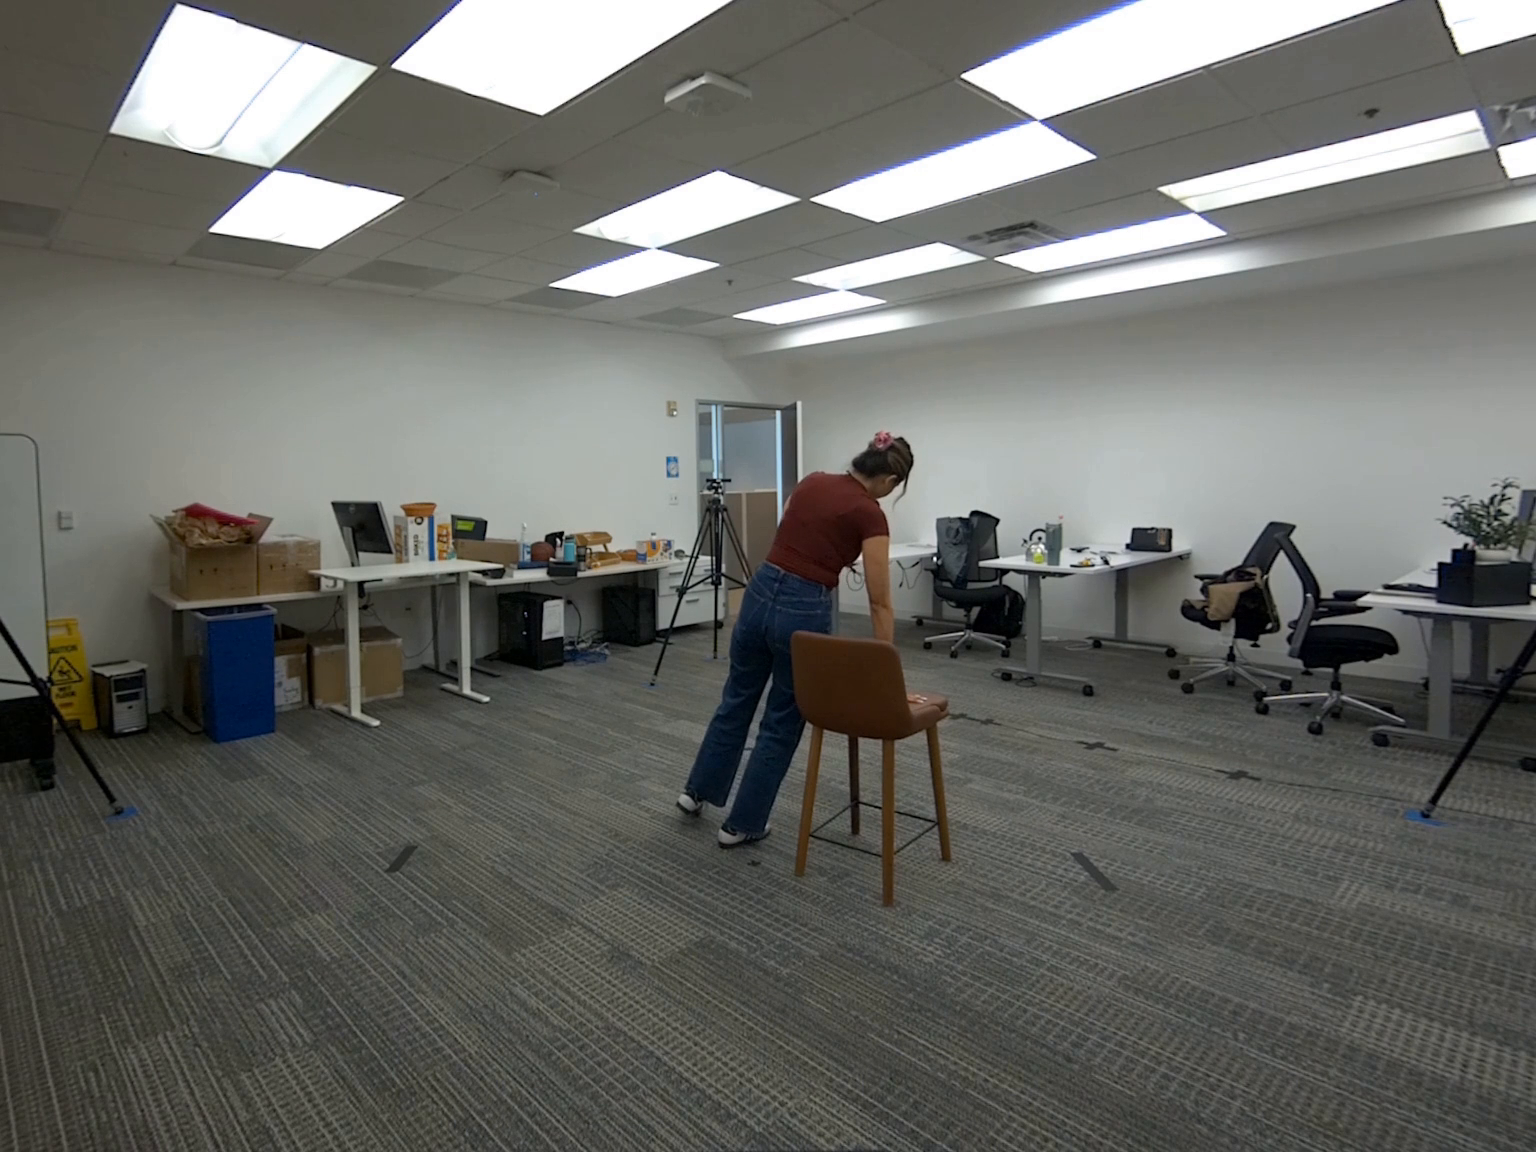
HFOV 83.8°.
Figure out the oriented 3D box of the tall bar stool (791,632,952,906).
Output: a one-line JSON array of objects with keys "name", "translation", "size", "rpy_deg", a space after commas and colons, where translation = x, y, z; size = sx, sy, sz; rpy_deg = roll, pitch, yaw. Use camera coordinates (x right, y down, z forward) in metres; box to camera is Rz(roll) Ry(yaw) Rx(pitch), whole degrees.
[{"name": "tall bar stool", "translation": [0.370, 0.613, 3.031], "size": [0.470, 0.886, 0.456], "rpy_deg": [2, 6, 37]}]
